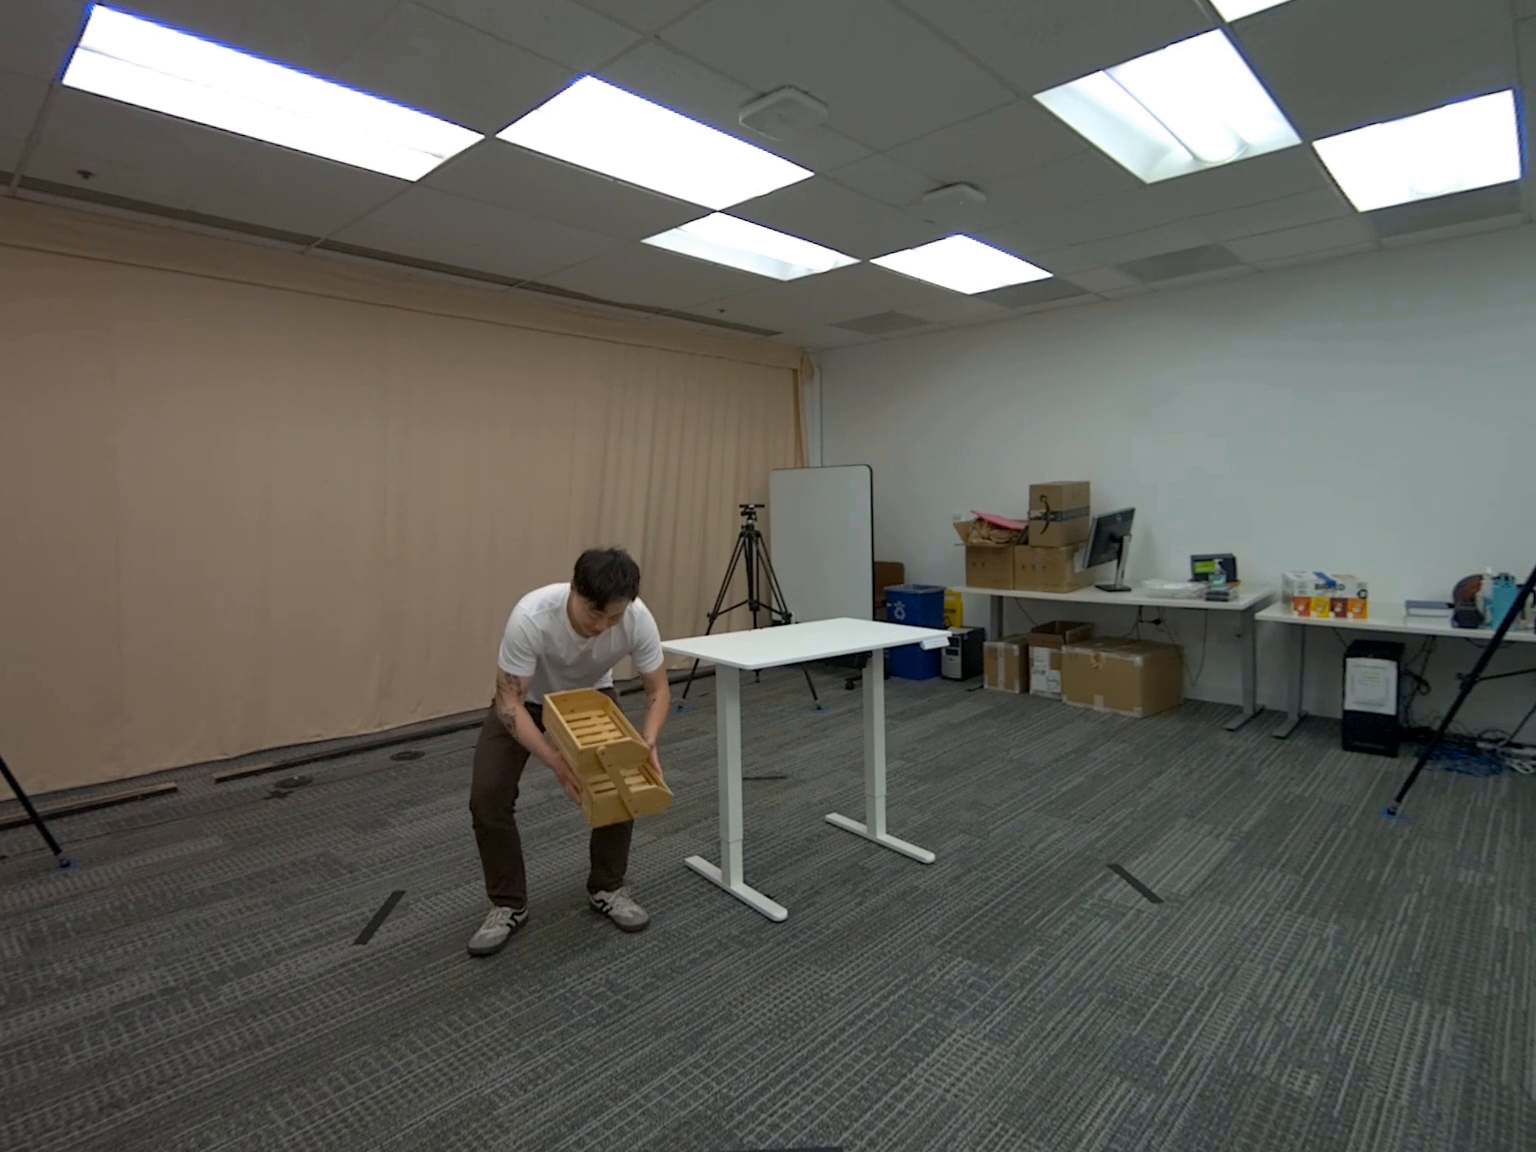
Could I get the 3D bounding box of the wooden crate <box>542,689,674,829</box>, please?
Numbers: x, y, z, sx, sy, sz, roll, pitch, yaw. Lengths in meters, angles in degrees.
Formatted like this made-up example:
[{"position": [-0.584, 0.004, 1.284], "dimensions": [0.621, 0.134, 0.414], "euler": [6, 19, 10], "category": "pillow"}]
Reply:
[{"position": [-0.449, 0.499, 2.420], "dimensions": [0.294, 0.271, 0.336], "euler": [-5, 22, -32], "category": "wooden crate"}]
